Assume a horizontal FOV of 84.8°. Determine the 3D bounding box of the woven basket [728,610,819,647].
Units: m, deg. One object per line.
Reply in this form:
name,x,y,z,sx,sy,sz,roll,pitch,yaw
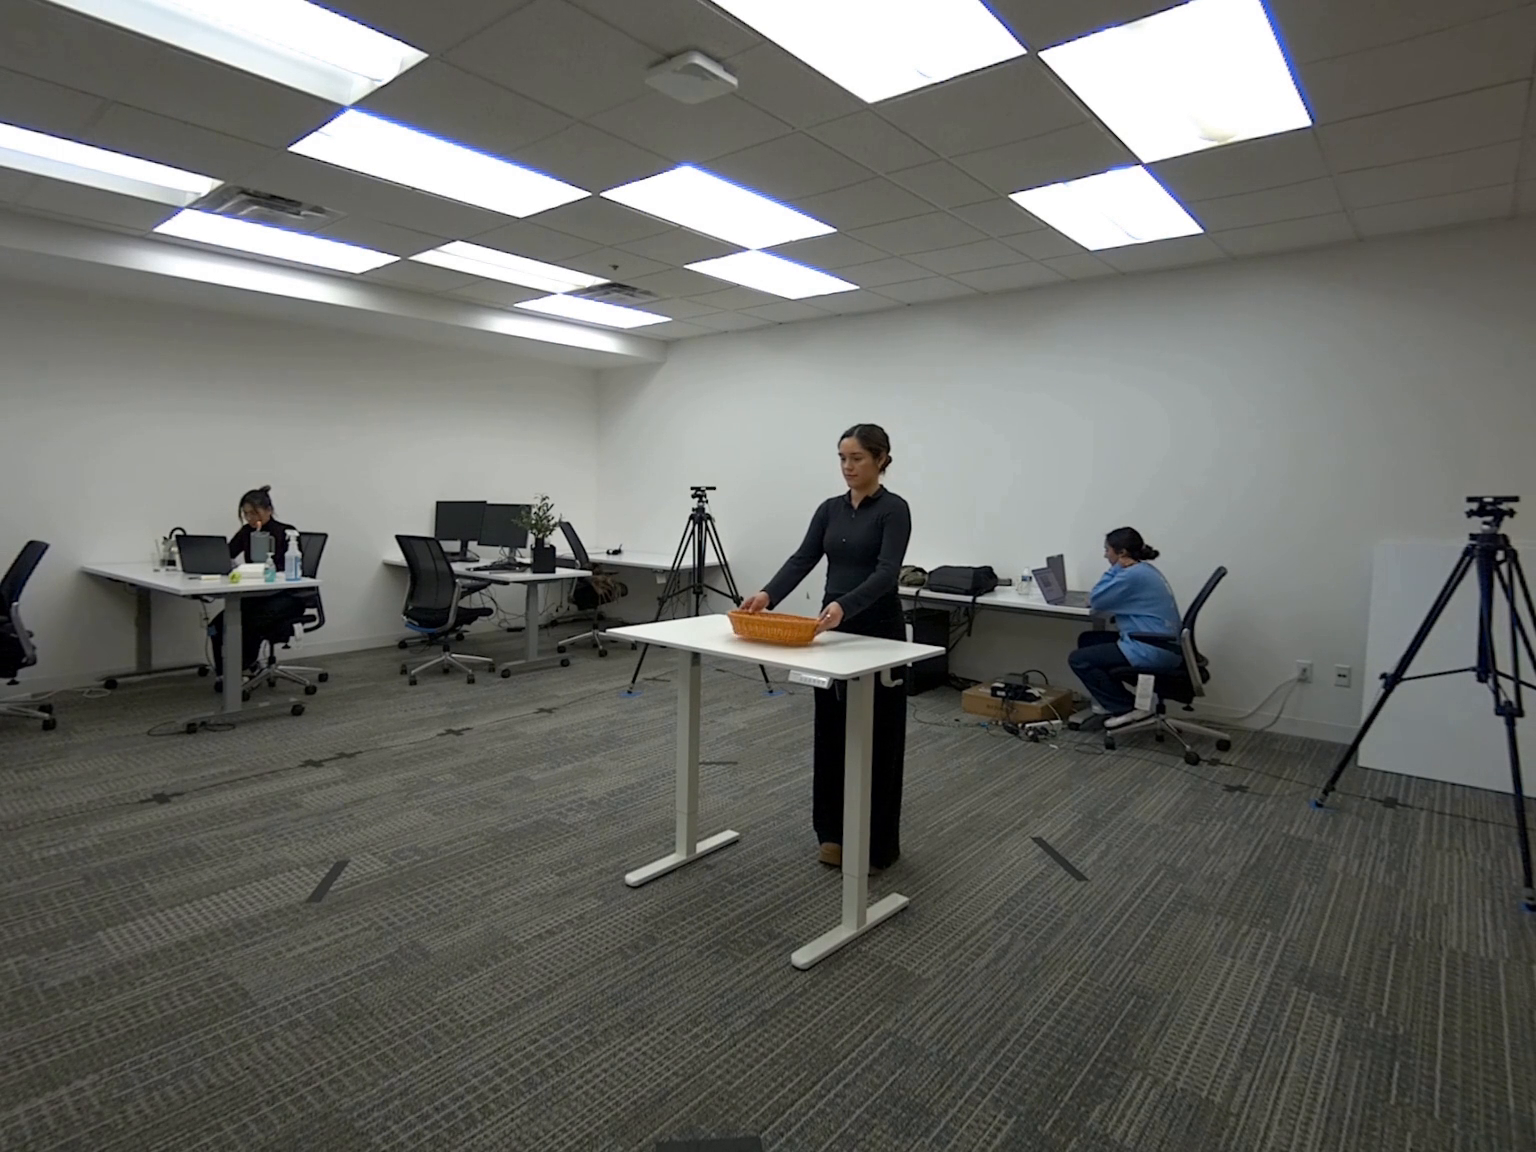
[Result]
woven basket,0.017,0.164,2.848,0.362,0.073,0.244,6,3,43
